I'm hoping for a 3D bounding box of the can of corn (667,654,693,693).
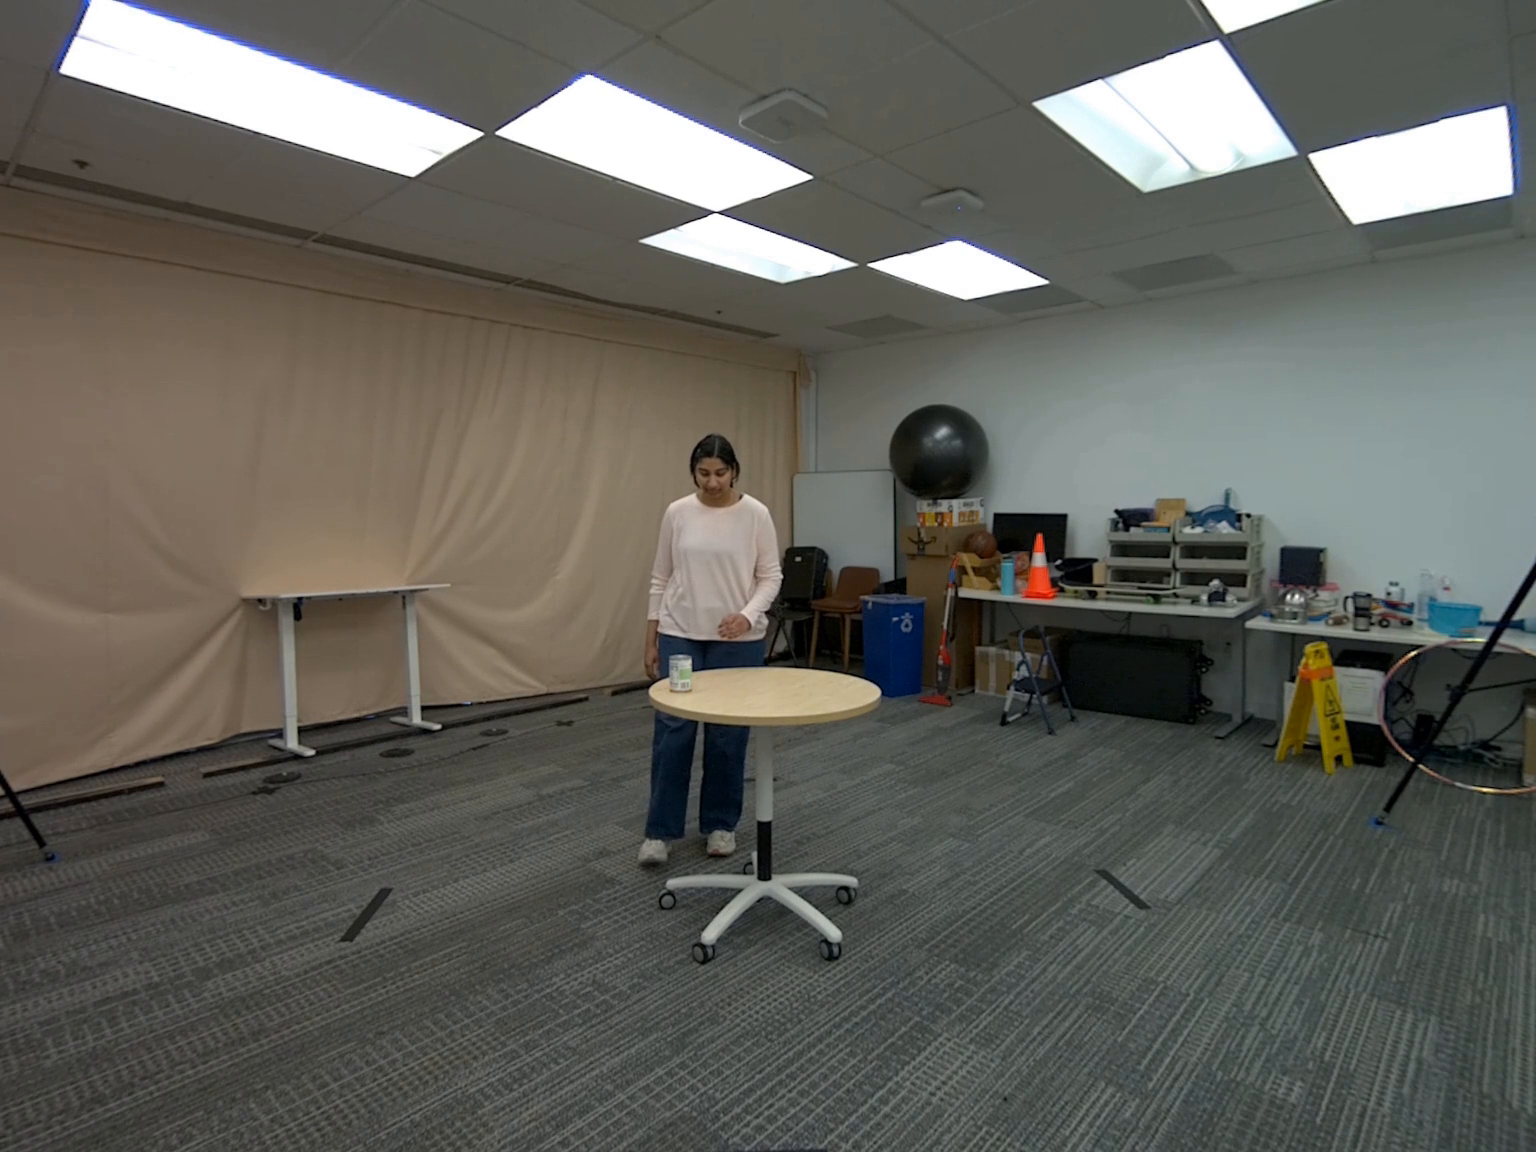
[{"bbox_3d":[-0.284,0.320,2.781,0.074,0.111,0.074,-1,3,-2],"label":"can of corn"}]
